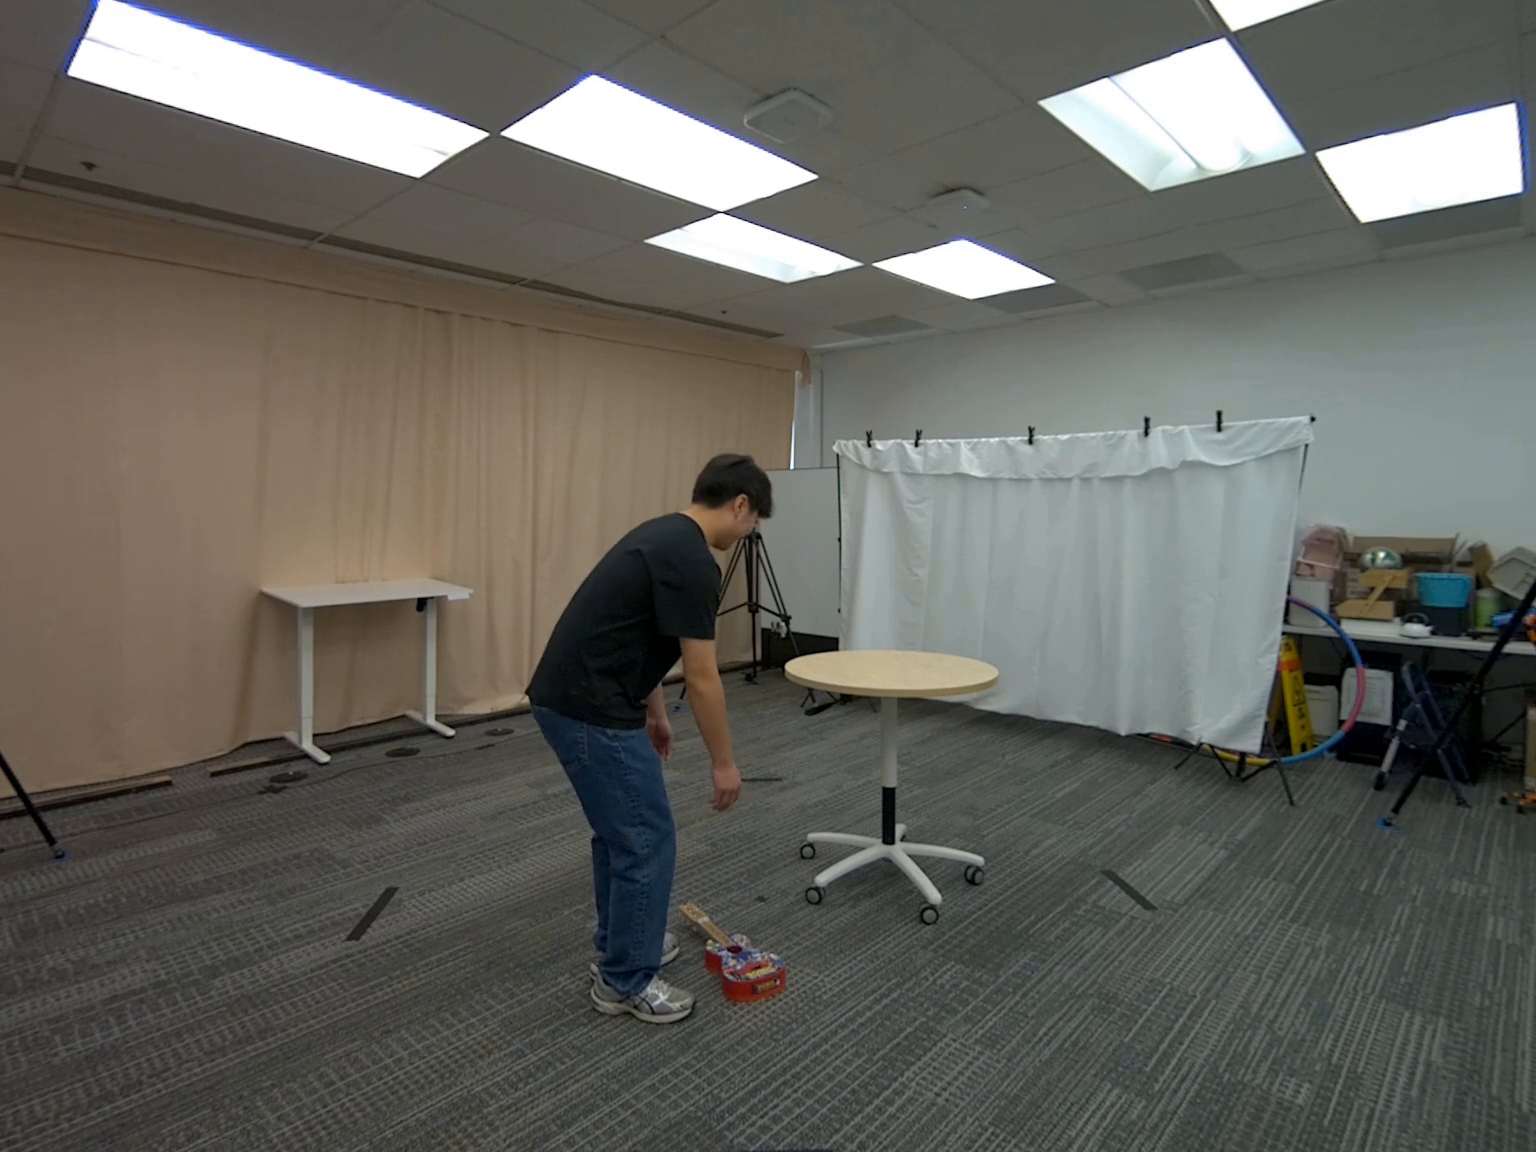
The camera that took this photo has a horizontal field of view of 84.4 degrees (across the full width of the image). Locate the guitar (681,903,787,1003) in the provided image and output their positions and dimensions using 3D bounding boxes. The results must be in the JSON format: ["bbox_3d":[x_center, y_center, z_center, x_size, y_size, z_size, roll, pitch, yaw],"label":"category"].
[{"bbox_3d":[-0.115,1.143,2.604,0.189,0.070,0.510,-3,5,-24],"label":"guitar"}]
